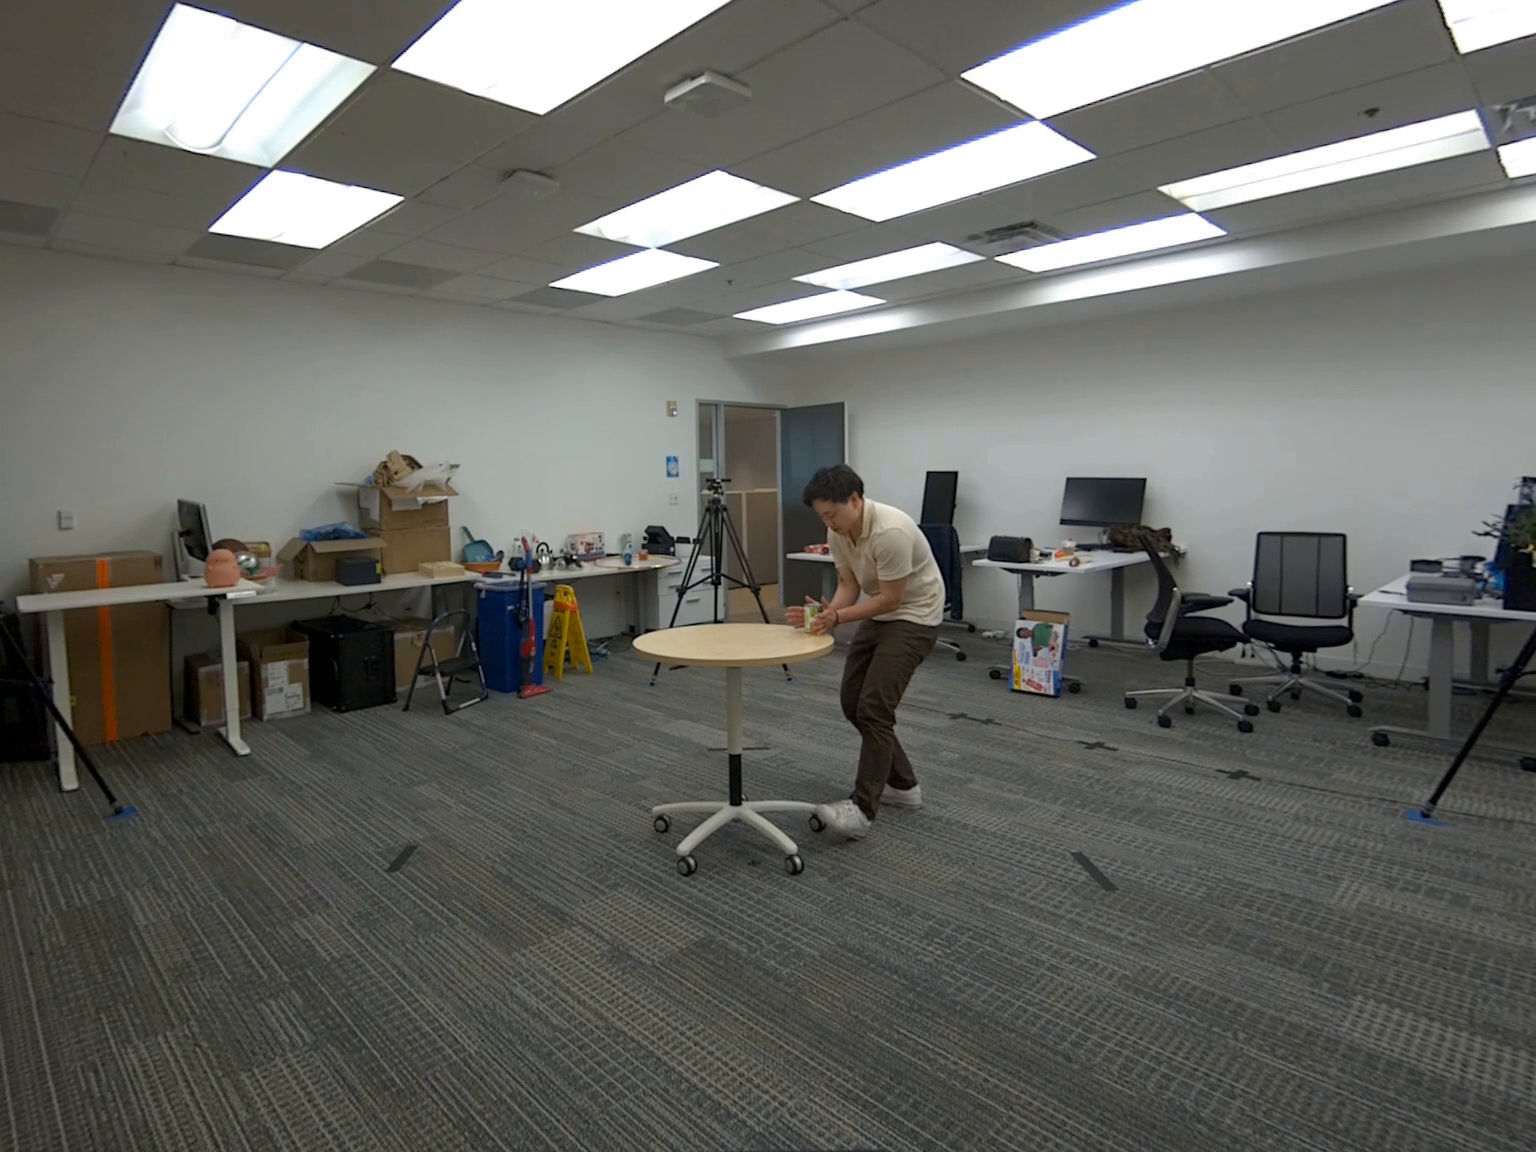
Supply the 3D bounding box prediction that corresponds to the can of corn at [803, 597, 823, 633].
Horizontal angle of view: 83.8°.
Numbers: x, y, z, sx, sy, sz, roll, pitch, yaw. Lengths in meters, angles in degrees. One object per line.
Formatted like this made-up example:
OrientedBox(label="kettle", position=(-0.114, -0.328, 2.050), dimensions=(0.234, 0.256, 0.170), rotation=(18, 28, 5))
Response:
OrientedBox(label="can of corn", position=(0.178, 0.171, 3.401), dimensions=(0.074, 0.111, 0.074), rotation=(2, 2, -2))
